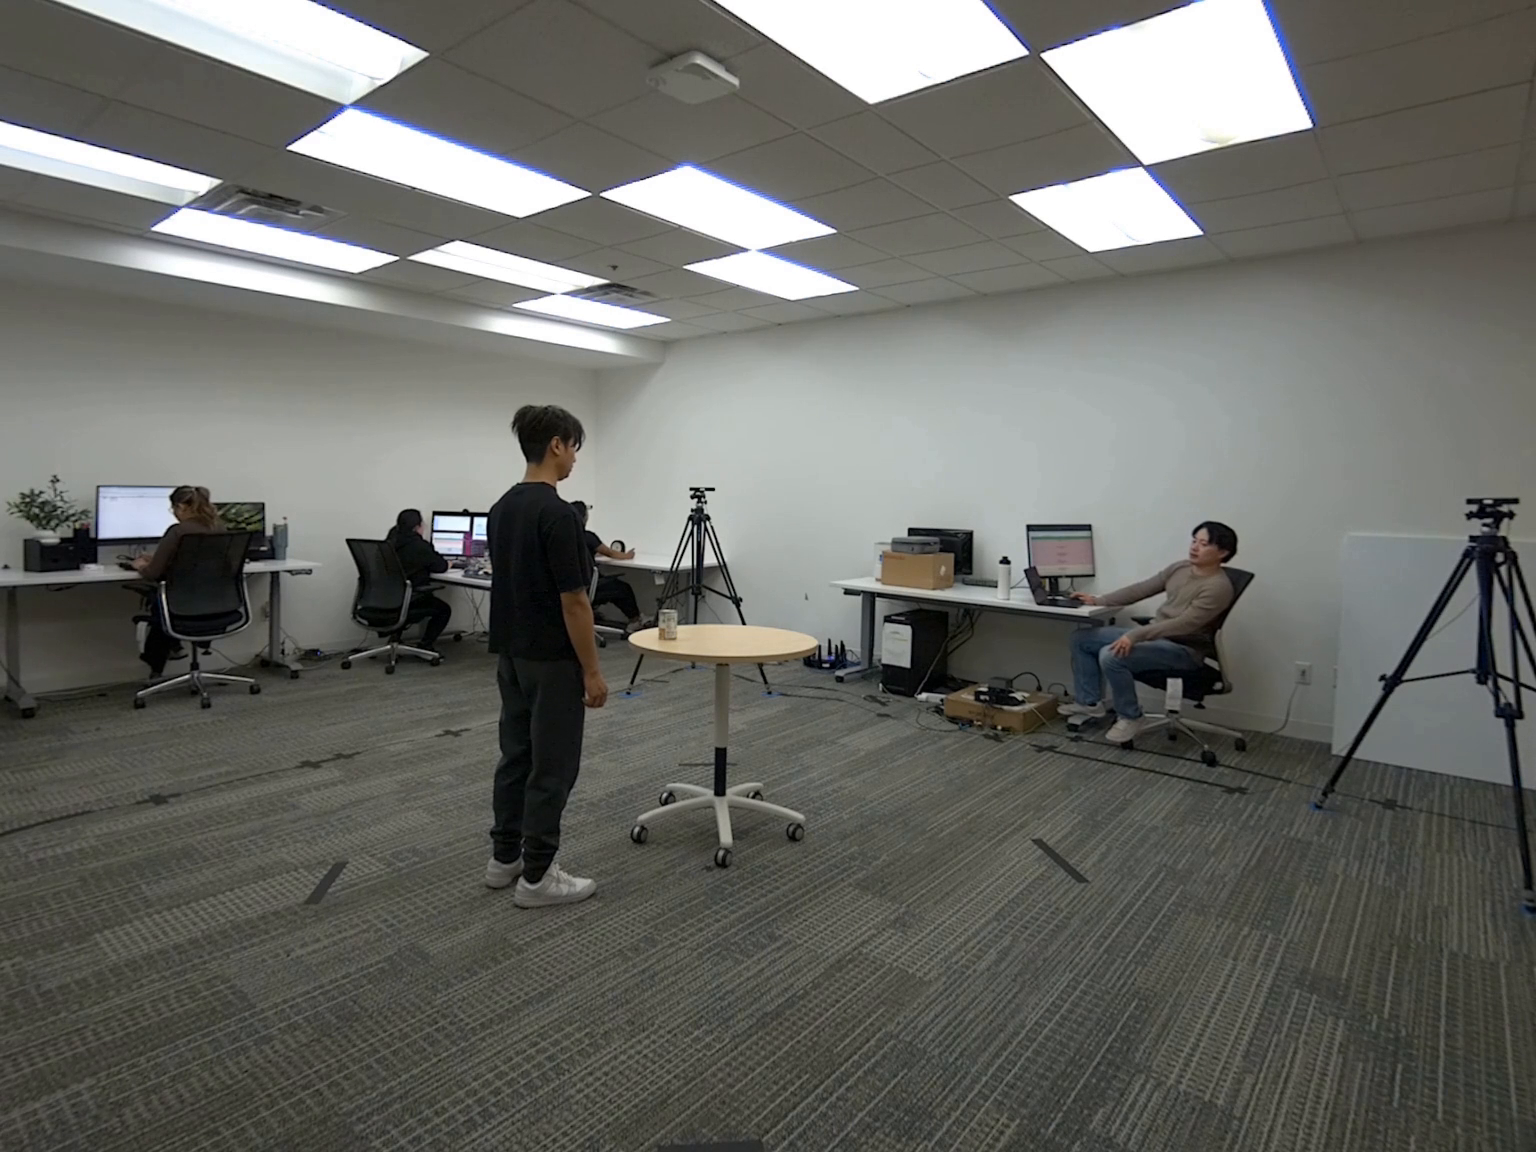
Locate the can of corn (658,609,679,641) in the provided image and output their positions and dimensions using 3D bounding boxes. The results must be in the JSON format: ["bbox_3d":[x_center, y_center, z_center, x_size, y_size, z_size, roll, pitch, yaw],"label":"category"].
[{"bbox_3d":[-0.417,0.193,3.420,0.074,0.111,0.074,-1,4,-2],"label":"can of corn"}]
